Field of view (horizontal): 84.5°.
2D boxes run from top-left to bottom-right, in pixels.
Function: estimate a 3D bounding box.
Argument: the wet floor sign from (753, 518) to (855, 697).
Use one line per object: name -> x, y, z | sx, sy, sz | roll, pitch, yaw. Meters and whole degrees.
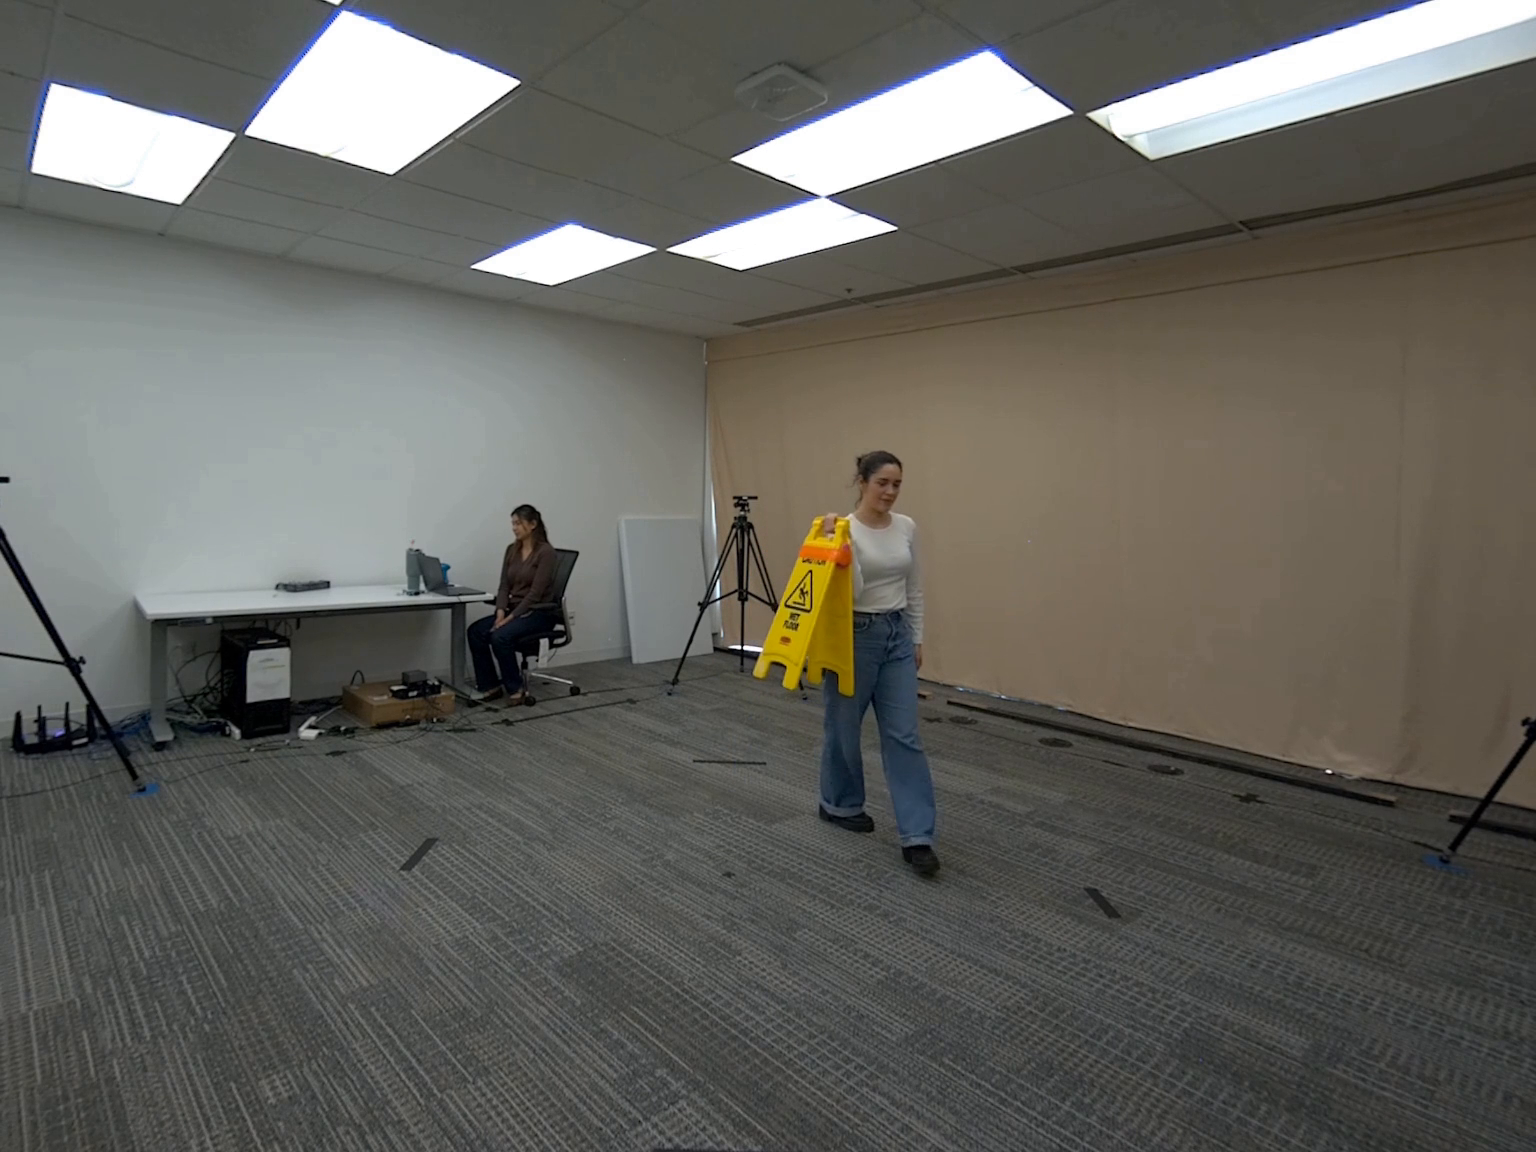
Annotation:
wet floor sign -> 0.186, 0.095, 3.184 | 0.282, 0.647, 0.289 | 11, -2, -32
